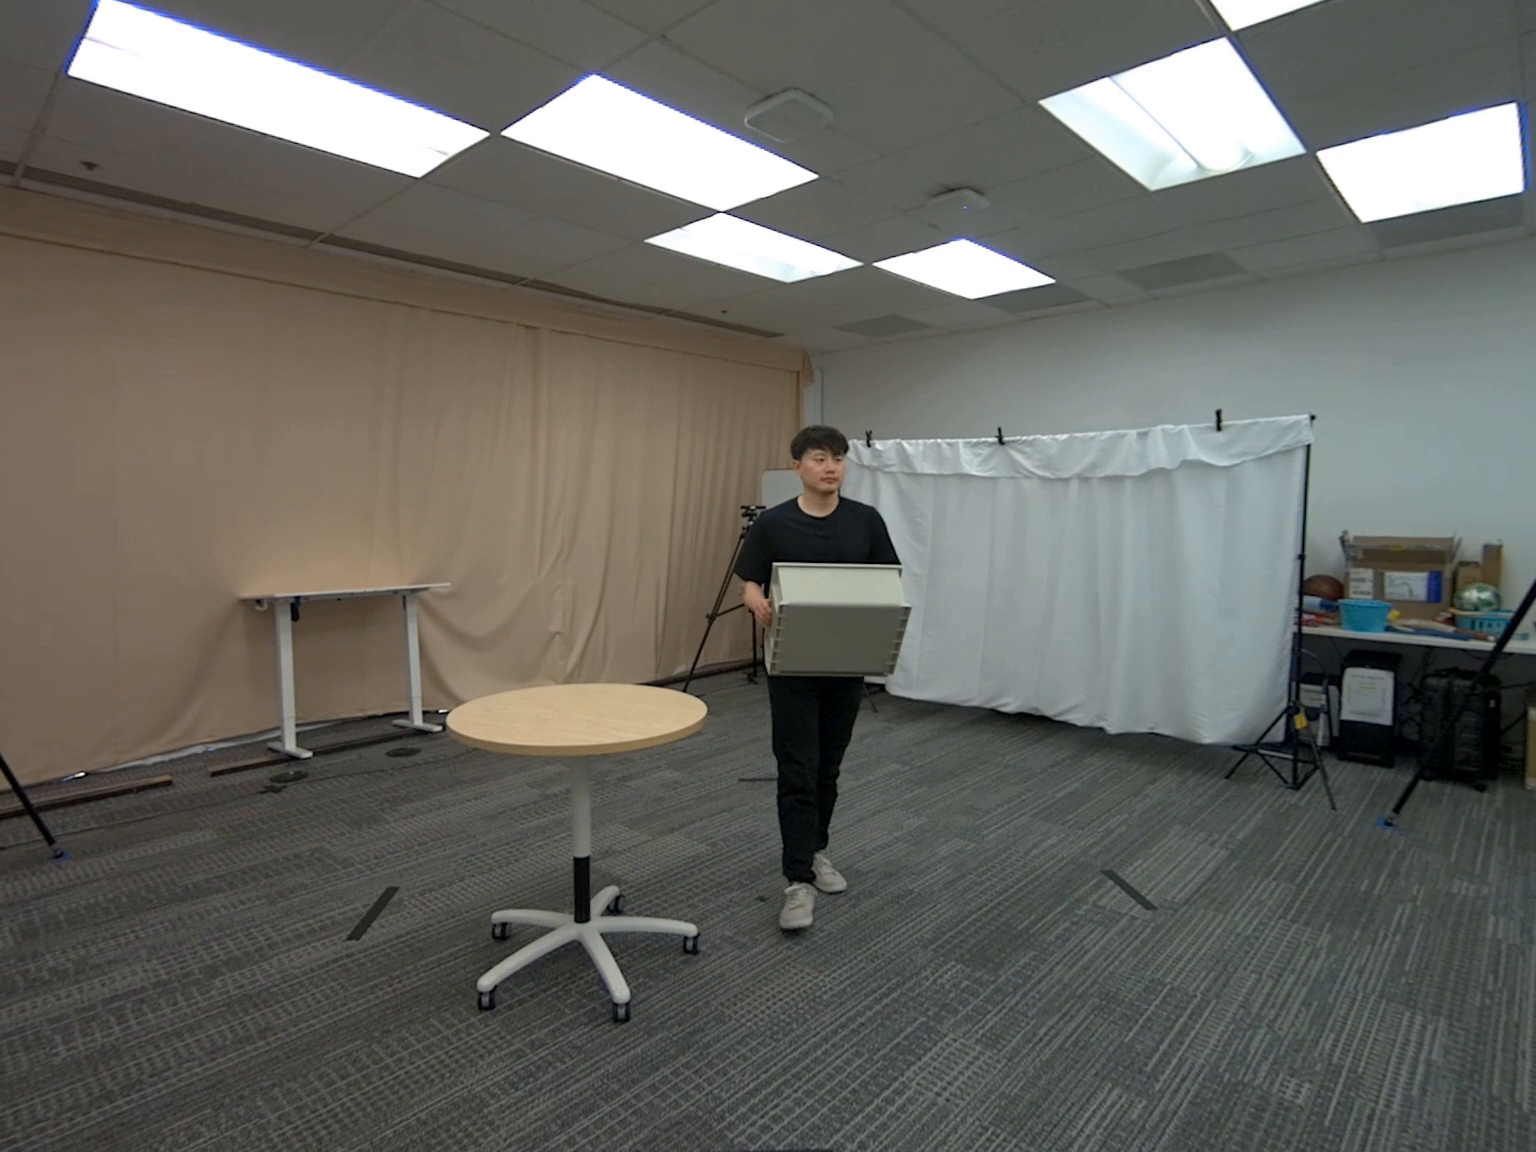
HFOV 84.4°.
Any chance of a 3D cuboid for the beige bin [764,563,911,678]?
[{"bbox_3d":[0.221,0.163,2.742,0.422,0.371,0.192,2,41,-1],"label":"beige bin"}]
